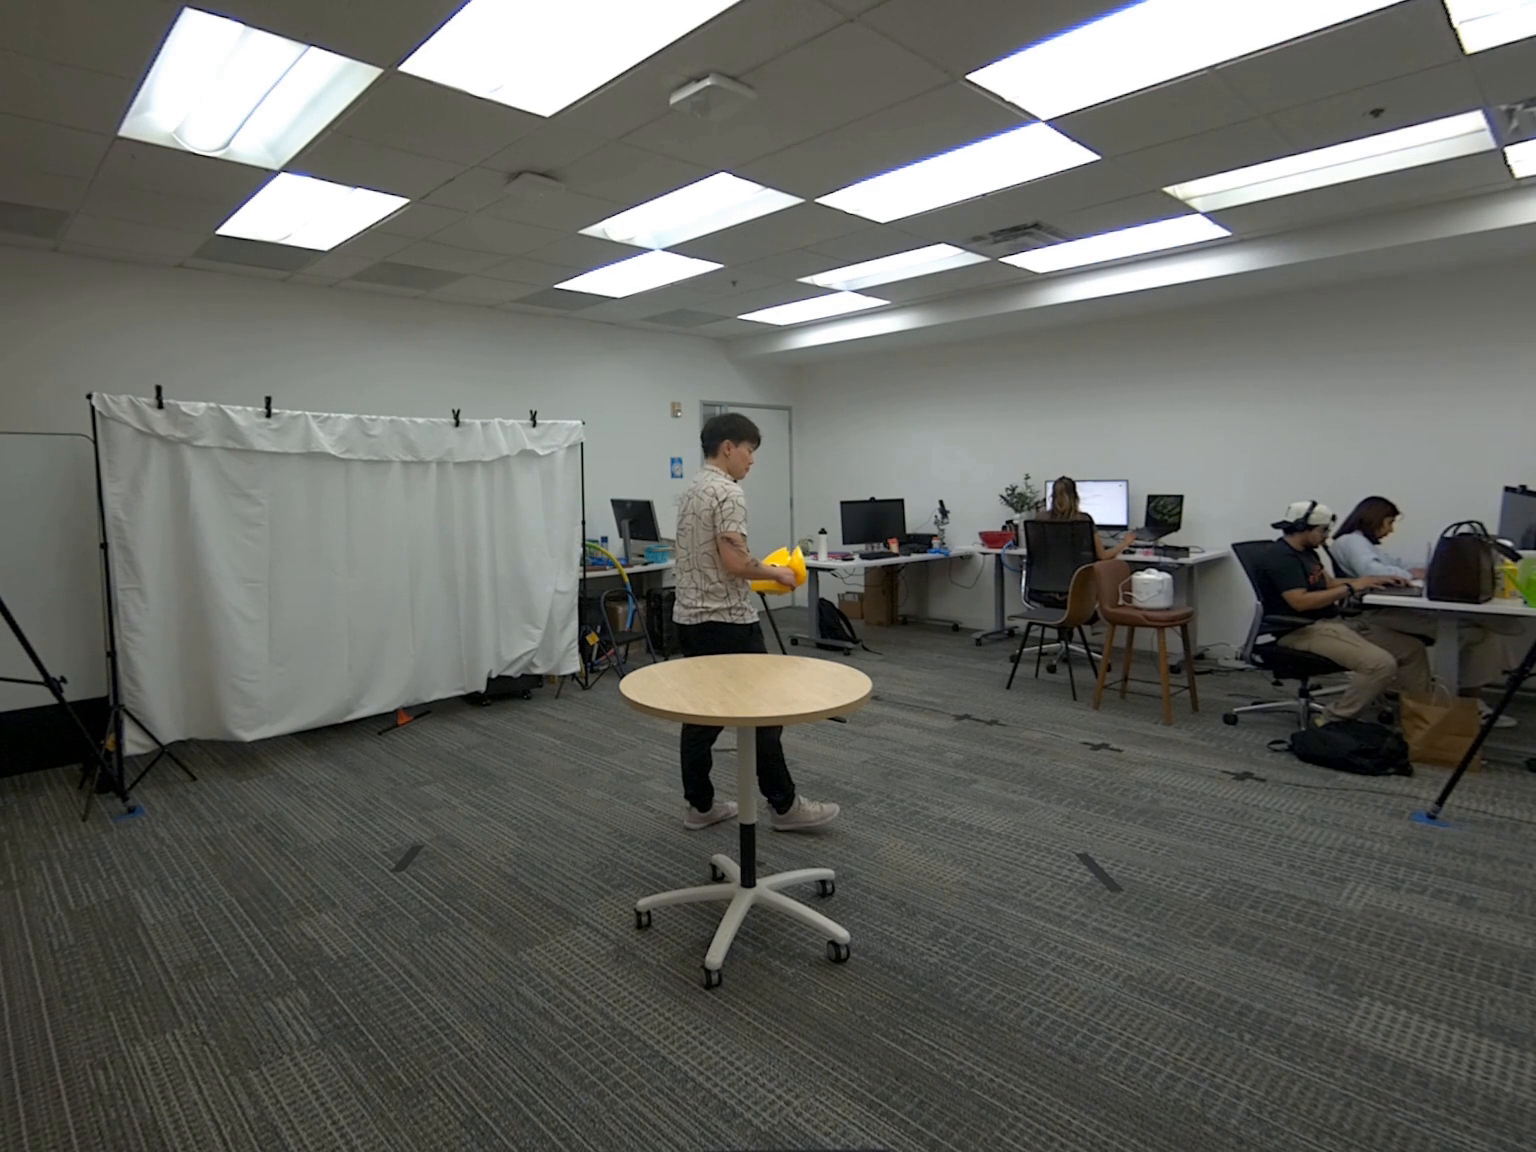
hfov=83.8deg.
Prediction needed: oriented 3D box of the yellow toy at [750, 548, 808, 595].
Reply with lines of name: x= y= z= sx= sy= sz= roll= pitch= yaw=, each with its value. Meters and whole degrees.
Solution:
yellow toy: x=0.012 y=-0.013 z=3.509 sx=0.227 sy=0.193 sz=0.208 roll=-7 pitch=-1 yaw=-21
